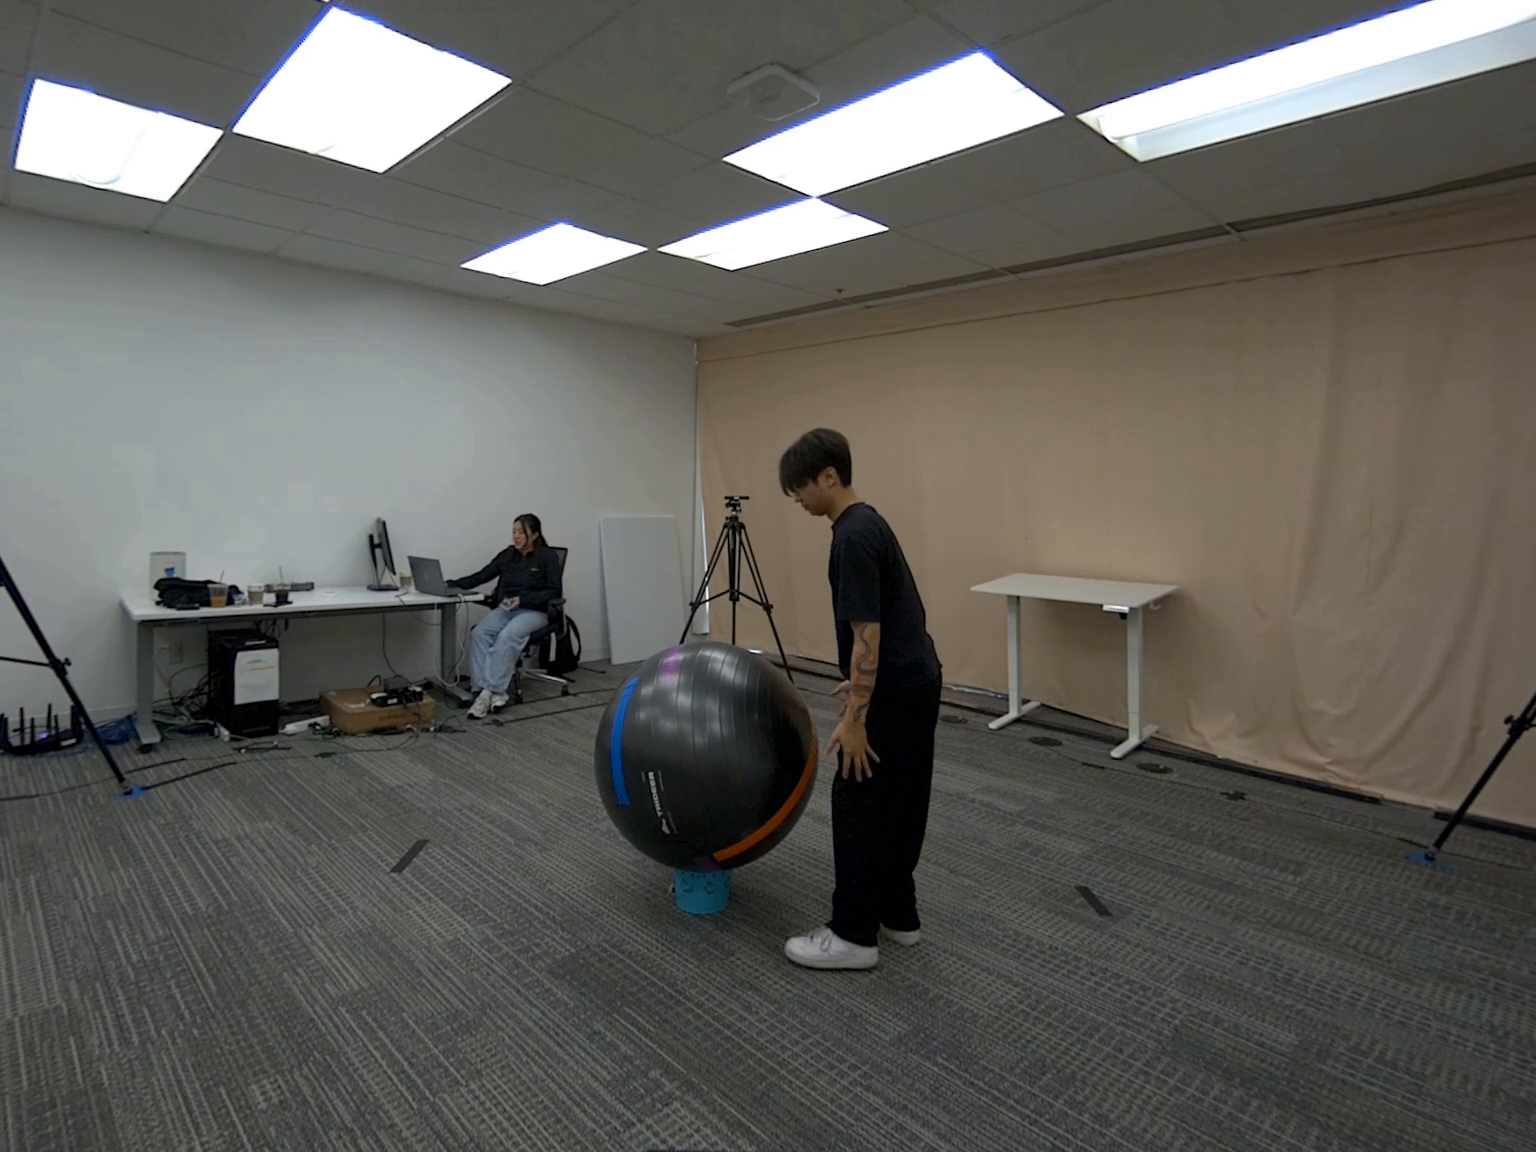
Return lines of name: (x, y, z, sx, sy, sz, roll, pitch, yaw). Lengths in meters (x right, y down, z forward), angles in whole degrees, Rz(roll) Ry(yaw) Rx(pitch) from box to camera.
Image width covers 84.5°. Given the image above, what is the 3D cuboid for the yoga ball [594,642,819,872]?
yoga ball: (-0.222, 0.610, 2.885, 0.757, 0.756, 0.761, 1, 4, -1)
